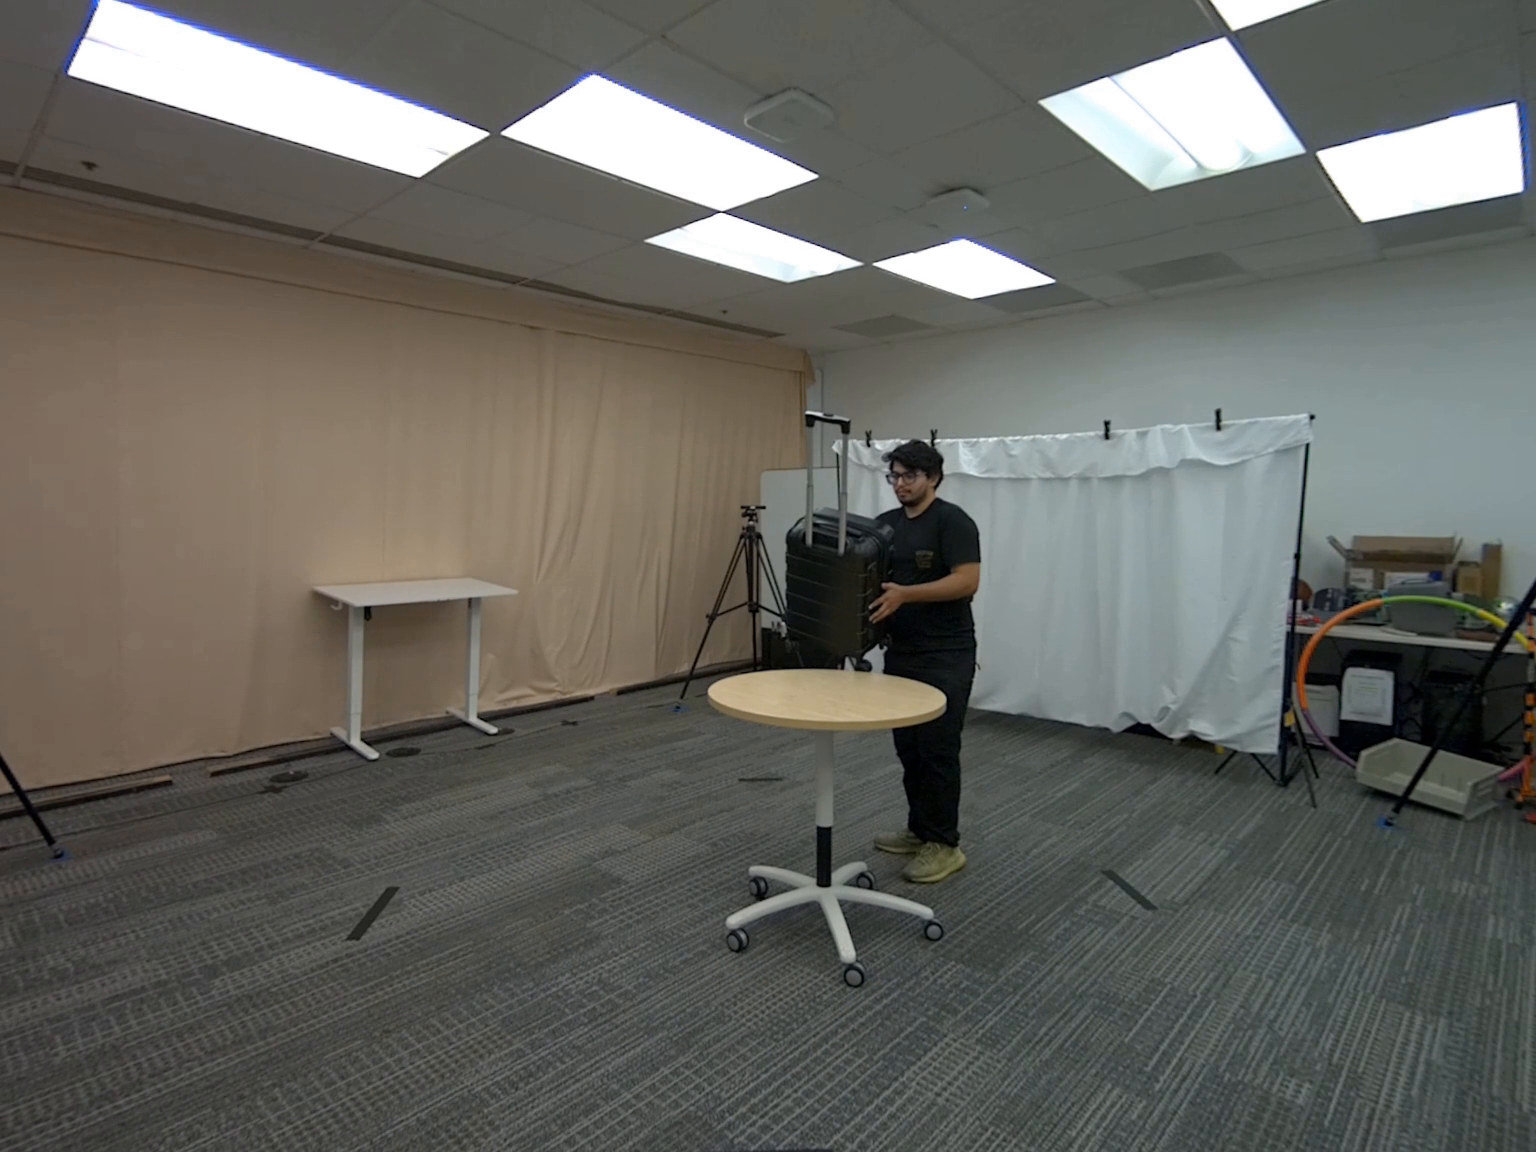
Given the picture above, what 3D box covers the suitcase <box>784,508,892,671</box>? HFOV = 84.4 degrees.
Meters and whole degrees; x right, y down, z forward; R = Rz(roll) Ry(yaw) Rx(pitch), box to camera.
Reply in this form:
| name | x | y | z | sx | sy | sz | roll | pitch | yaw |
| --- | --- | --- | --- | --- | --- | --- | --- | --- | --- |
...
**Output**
| name | x | y | z | sx | sy | sz | roll | pitch | yaw |
| --- | --- | --- | --- | --- | --- | --- | --- | --- | --- |
| suitcase | 0.268 | -0.144 | 3.049 | 0.397 | 0.963 | 0.252 | 19 | 33 | 32 |
